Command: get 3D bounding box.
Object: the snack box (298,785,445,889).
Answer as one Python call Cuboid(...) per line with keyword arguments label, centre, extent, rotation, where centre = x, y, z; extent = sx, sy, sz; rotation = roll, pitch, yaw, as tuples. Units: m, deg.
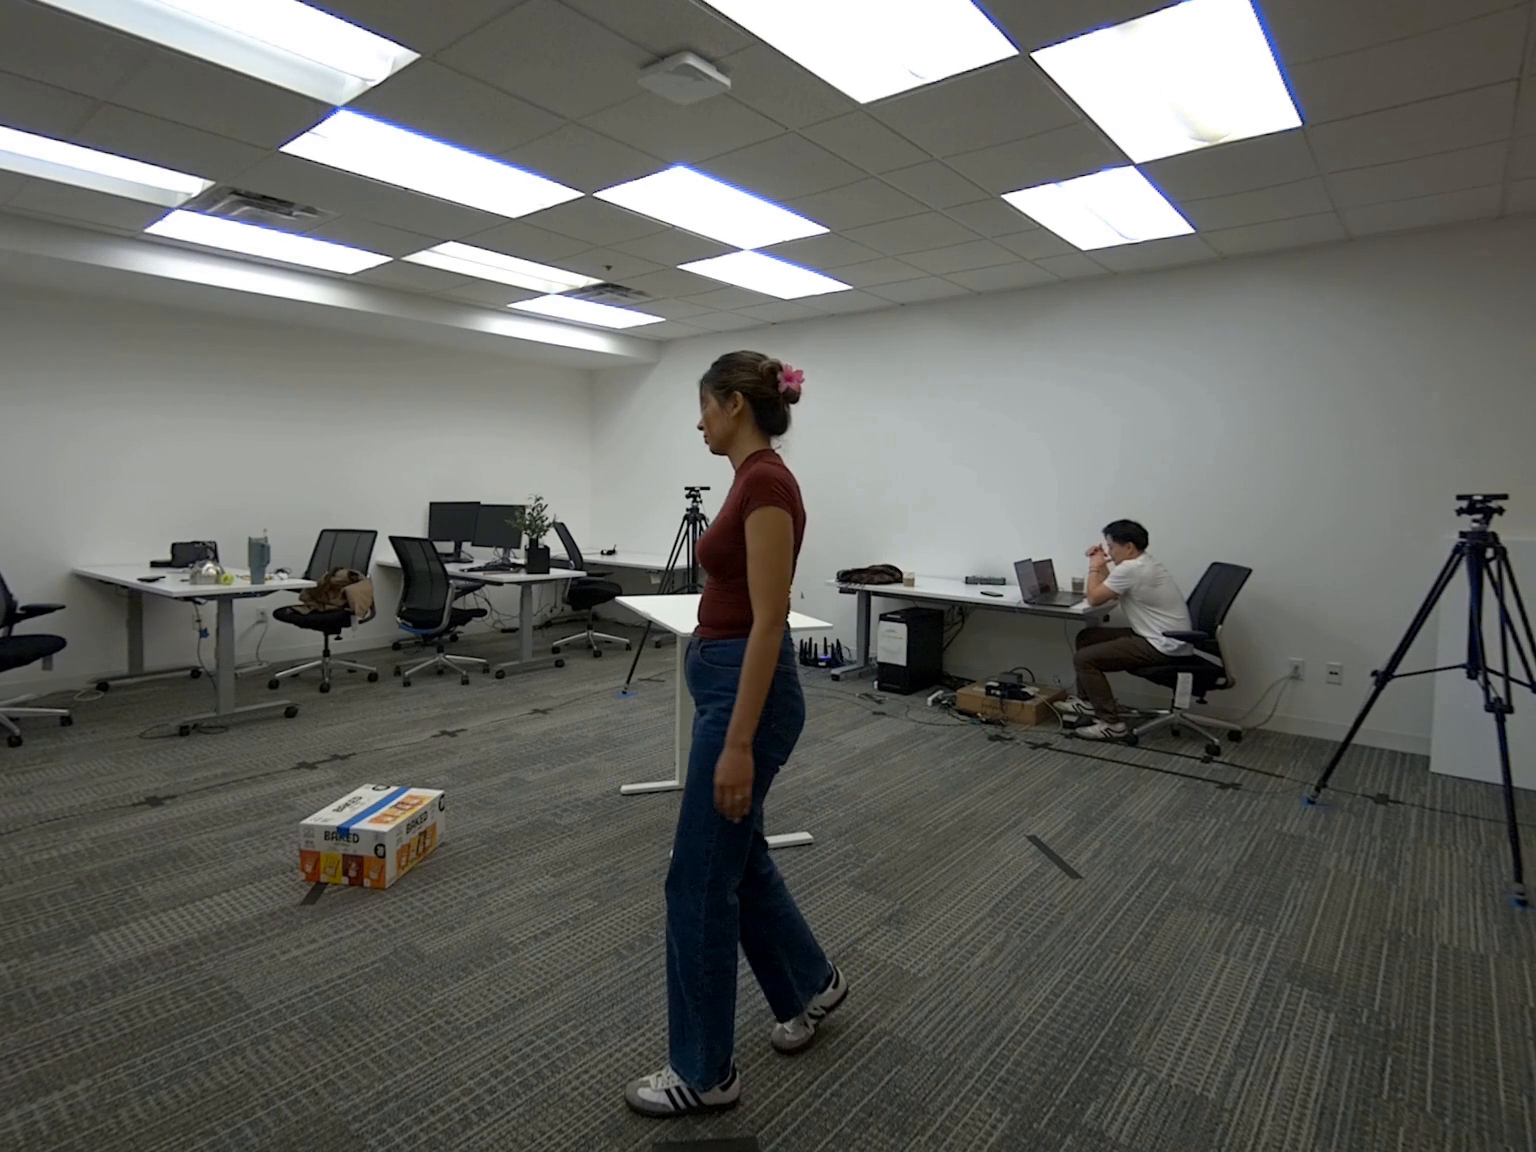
Cuboid(label="snack box", centre=(-1.466, 0.949, 3.132), extent=(0.344, 0.205, 0.402), rotation=(2, 6, 9))
